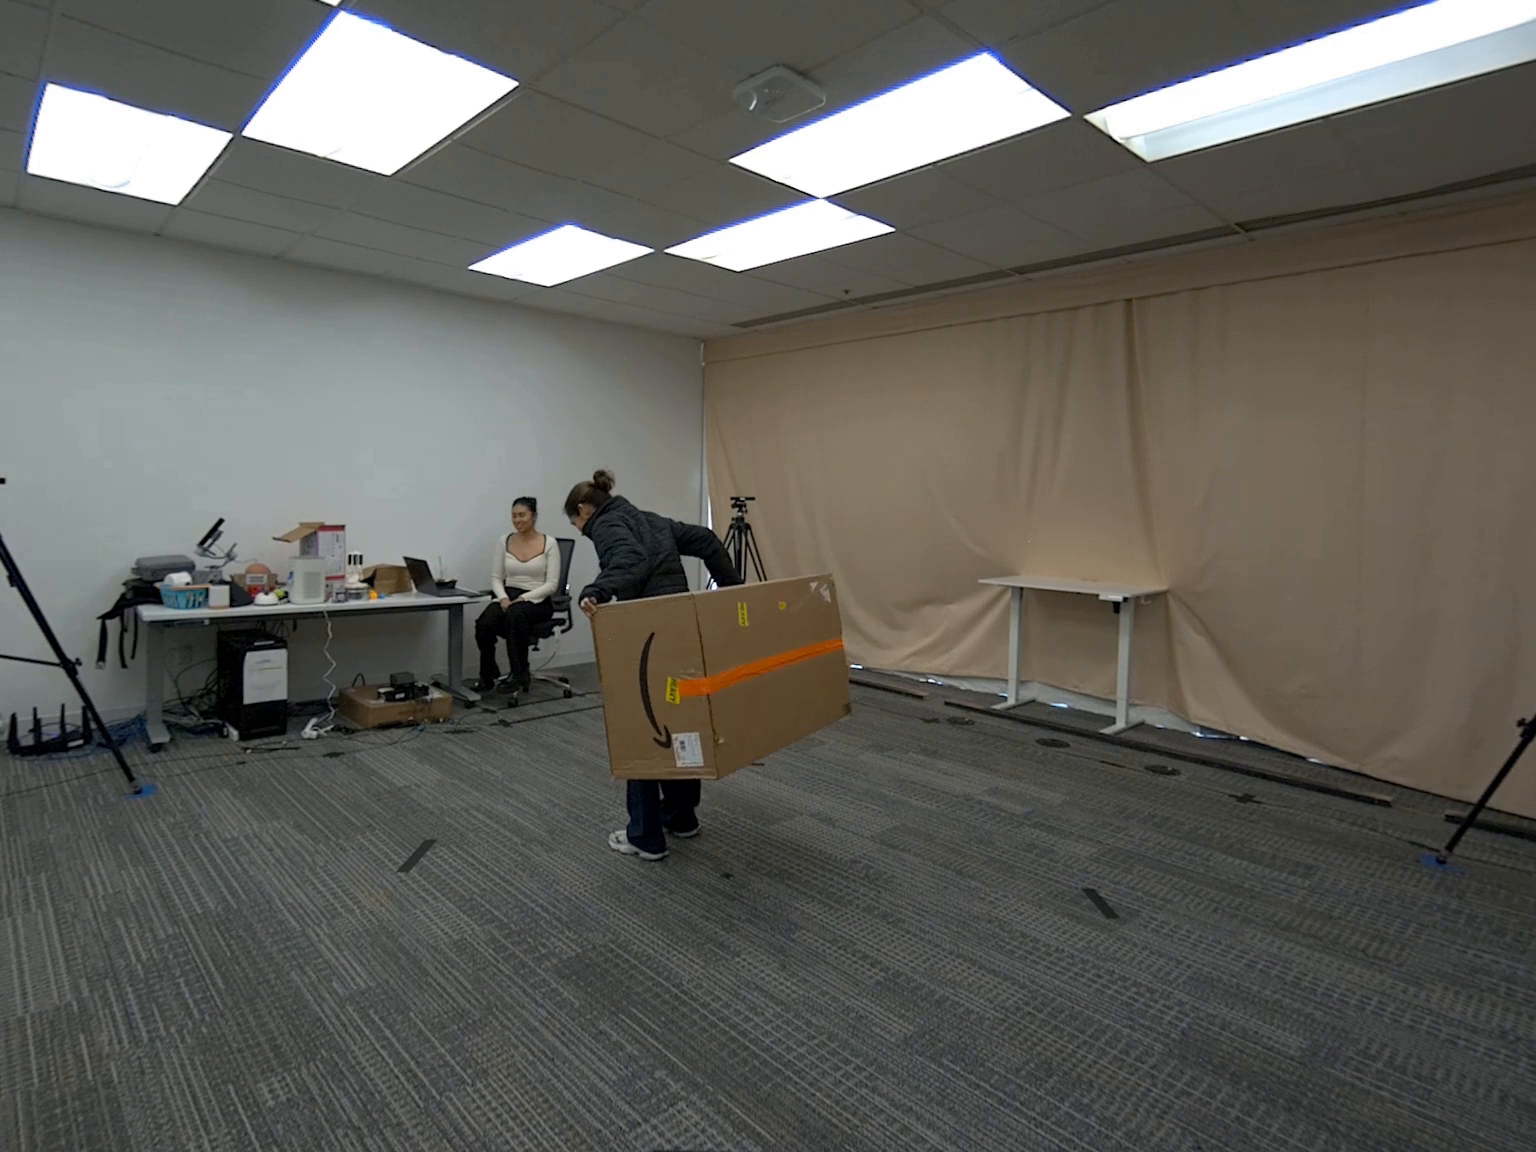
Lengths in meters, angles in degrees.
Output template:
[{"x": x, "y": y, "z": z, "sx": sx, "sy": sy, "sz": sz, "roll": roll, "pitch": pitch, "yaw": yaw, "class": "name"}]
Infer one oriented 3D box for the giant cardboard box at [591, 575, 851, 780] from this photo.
[{"x": -0.122, "y": 0.338, "z": 3.089, "sx": 0.434, "sy": 0.578, "sz": 1.006, "roll": -9, "pitch": -1, "yaw": 30, "class": "giant cardboard box"}]
